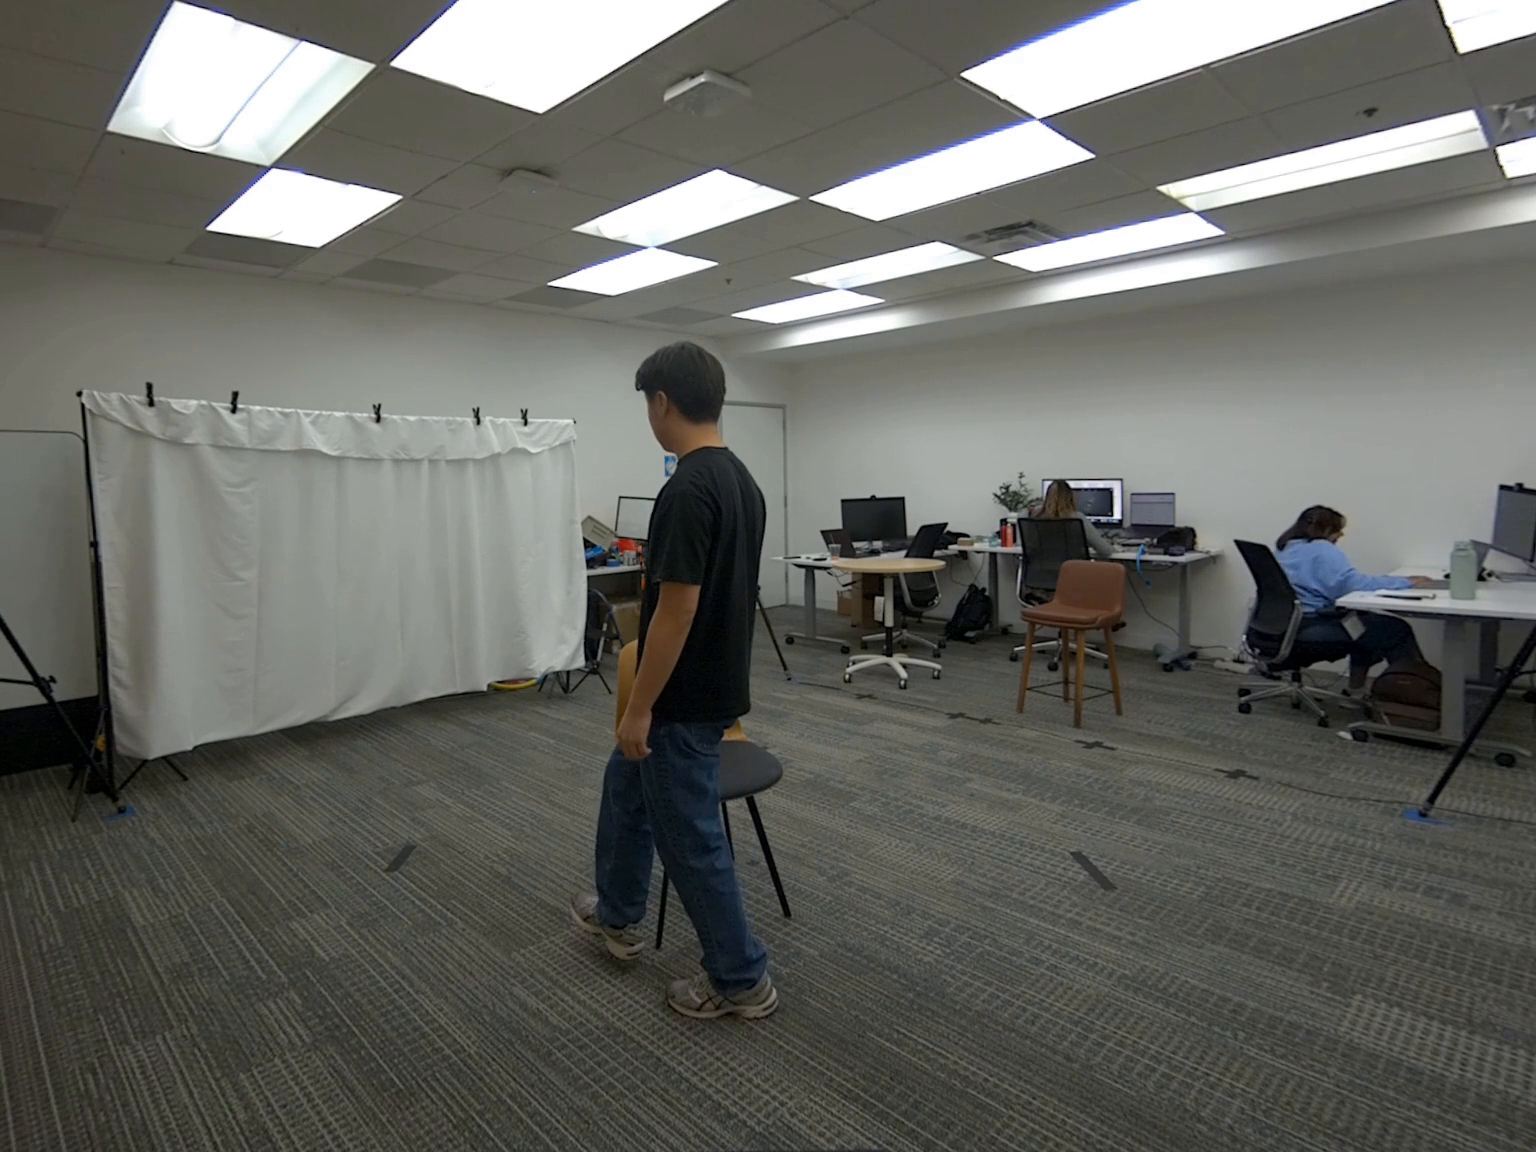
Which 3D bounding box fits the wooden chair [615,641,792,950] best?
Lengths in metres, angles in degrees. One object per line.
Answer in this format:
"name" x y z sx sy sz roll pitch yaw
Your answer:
"wooden chair" -0.227 0.653 2.799 0.468 0.877 0.534 -3 1 -25
